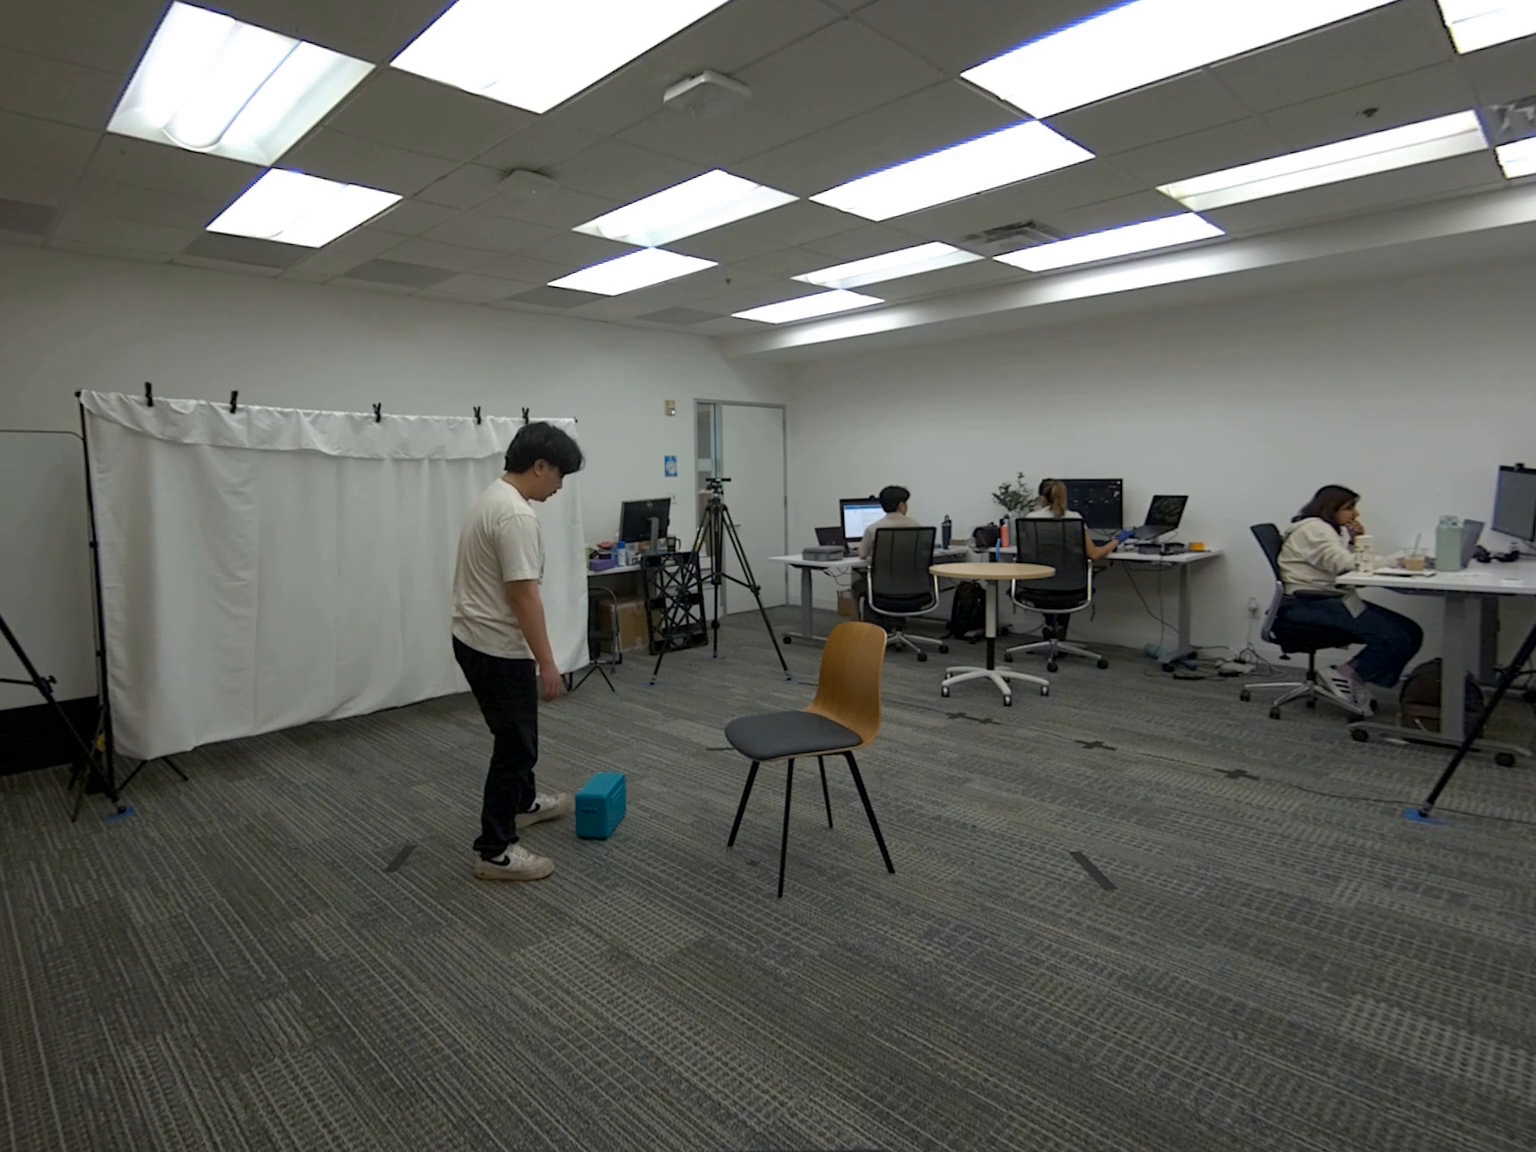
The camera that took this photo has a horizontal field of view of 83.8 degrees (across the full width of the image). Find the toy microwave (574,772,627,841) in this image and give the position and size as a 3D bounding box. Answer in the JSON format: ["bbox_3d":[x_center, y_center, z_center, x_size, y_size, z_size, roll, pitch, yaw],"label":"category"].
[{"bbox_3d":[-0.680,0.923,3.451,0.154,0.183,0.285,2,6,7],"label":"toy microwave"}]
